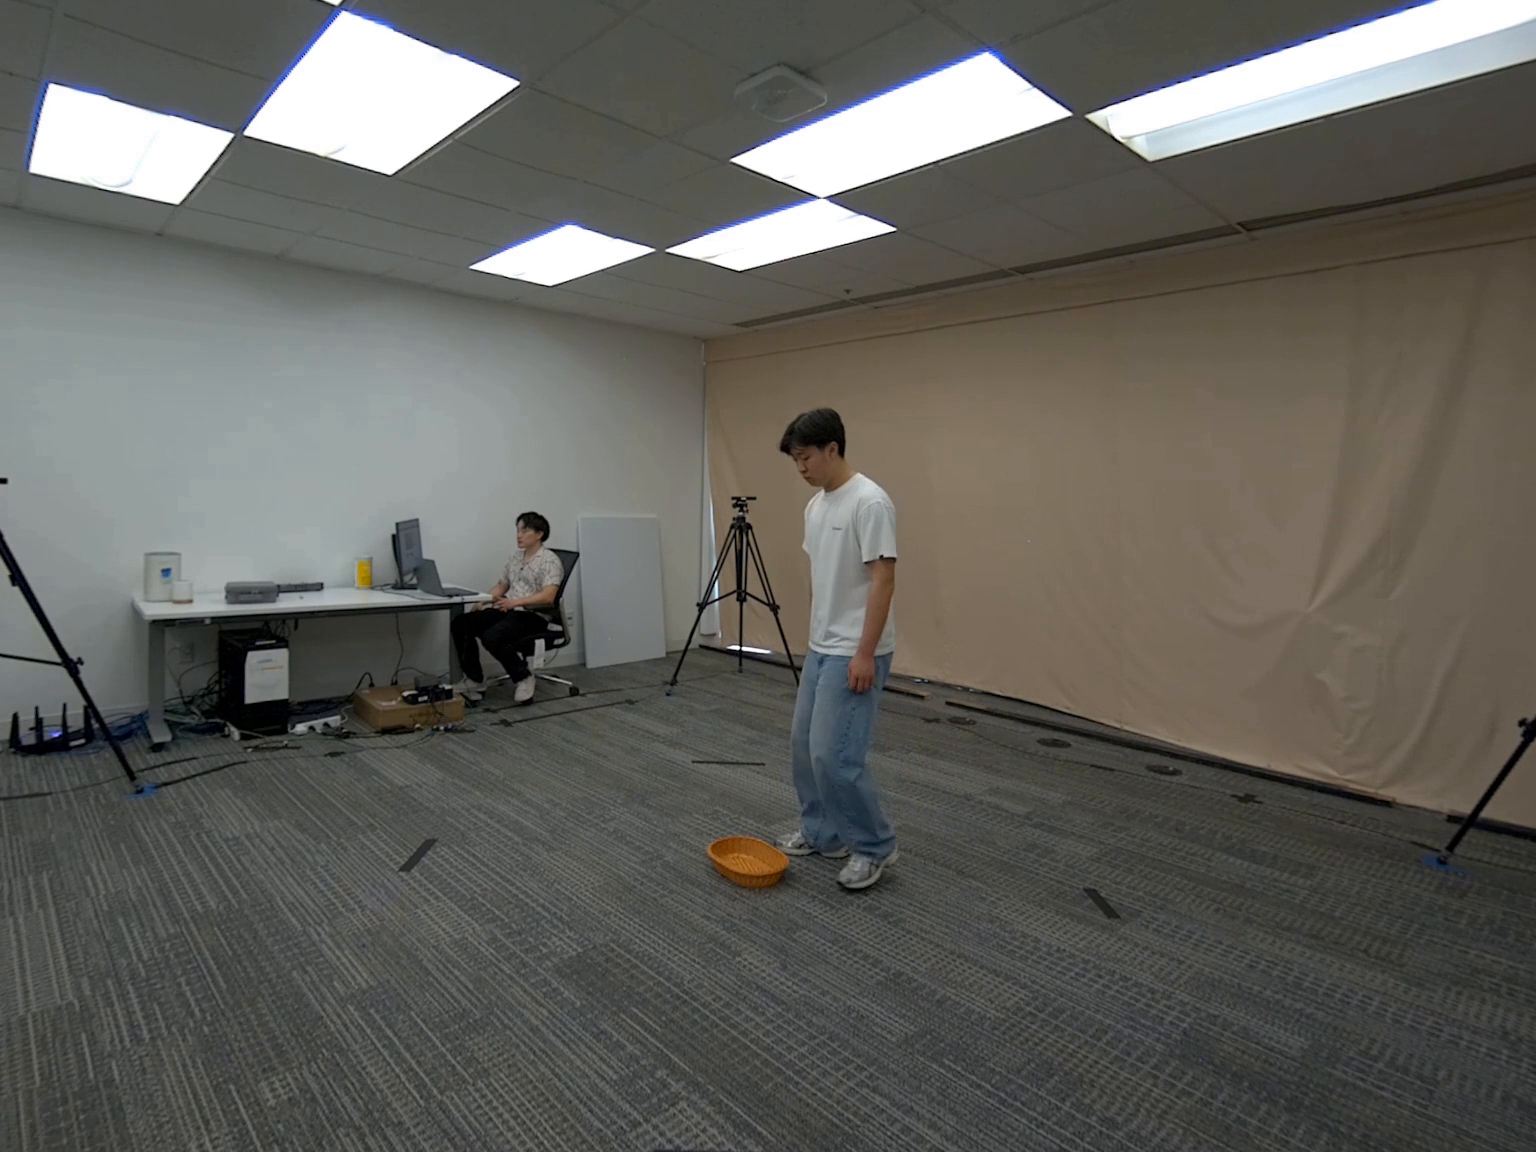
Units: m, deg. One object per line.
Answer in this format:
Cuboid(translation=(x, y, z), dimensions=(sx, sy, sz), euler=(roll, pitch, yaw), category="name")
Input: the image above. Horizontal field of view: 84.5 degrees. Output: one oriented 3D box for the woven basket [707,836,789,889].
Cuboid(translation=(-0.081, 1.060, 3.129), dimensions=(0.247, 0.073, 0.359), euler=(-2, 7, -37), category="woven basket")
